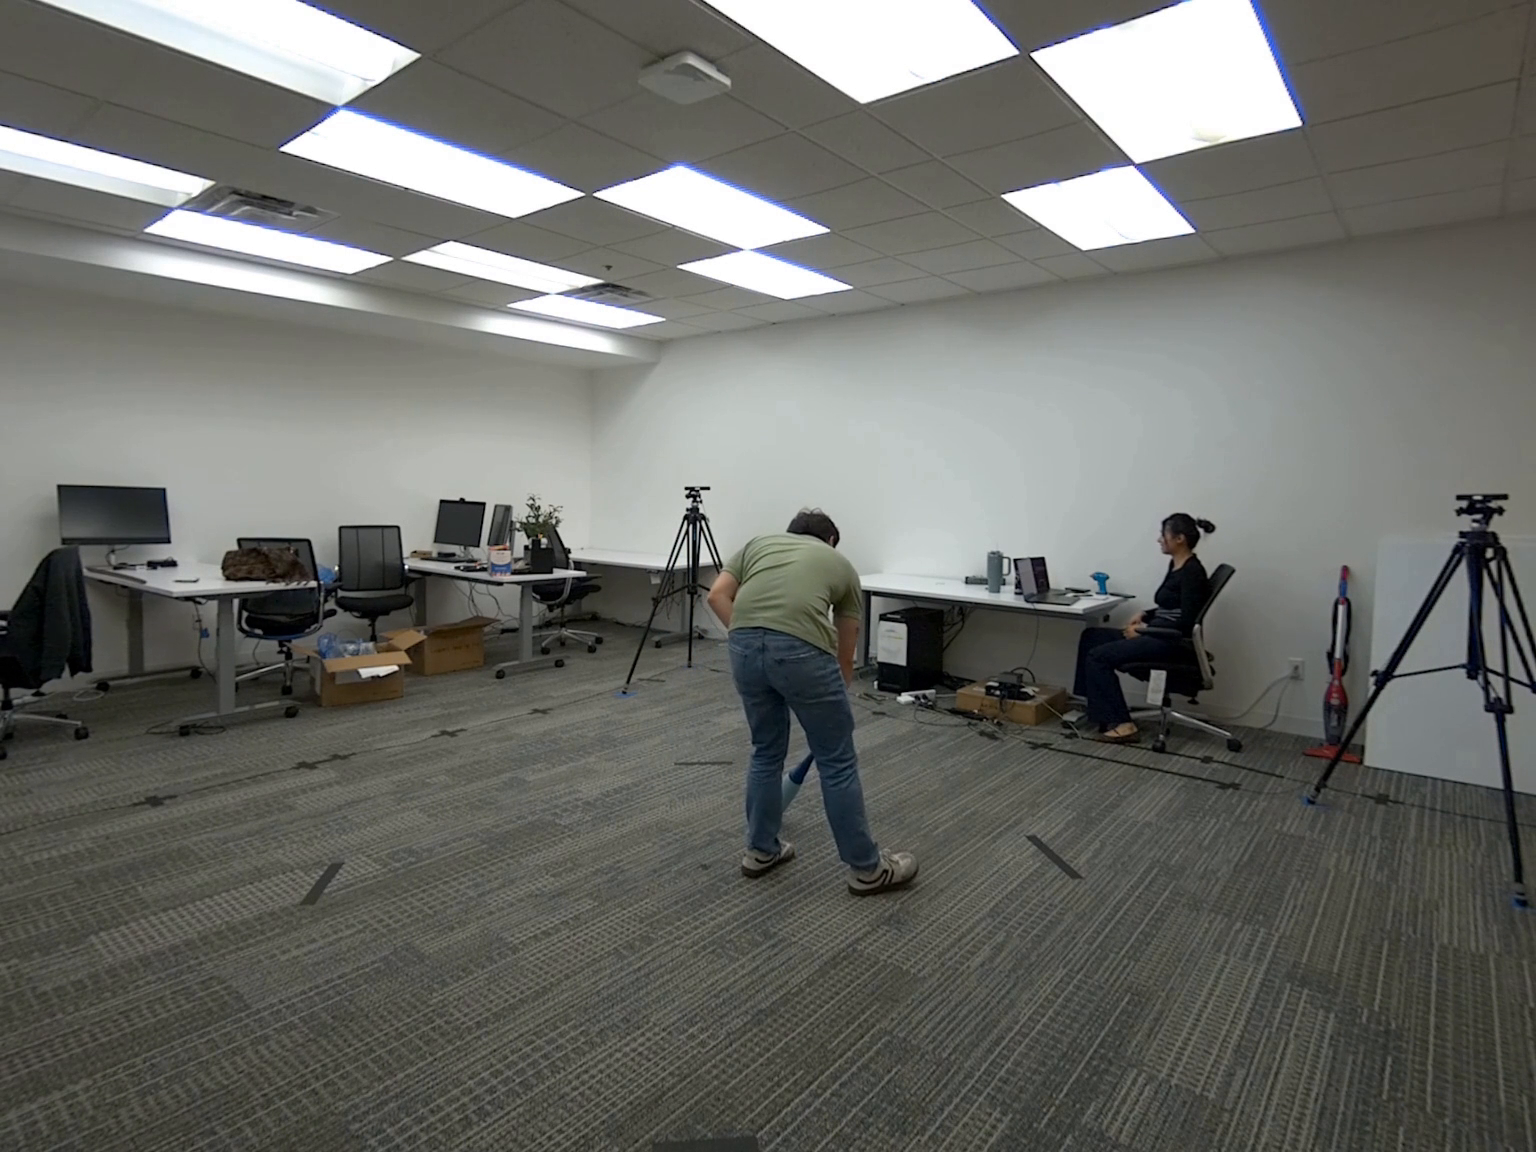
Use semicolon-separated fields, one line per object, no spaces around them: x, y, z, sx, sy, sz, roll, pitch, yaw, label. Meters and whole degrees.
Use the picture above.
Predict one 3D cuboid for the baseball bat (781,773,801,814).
0.108;0.797;3.441;0.087;0.539;0.091;22;31;-16;baseball bat
